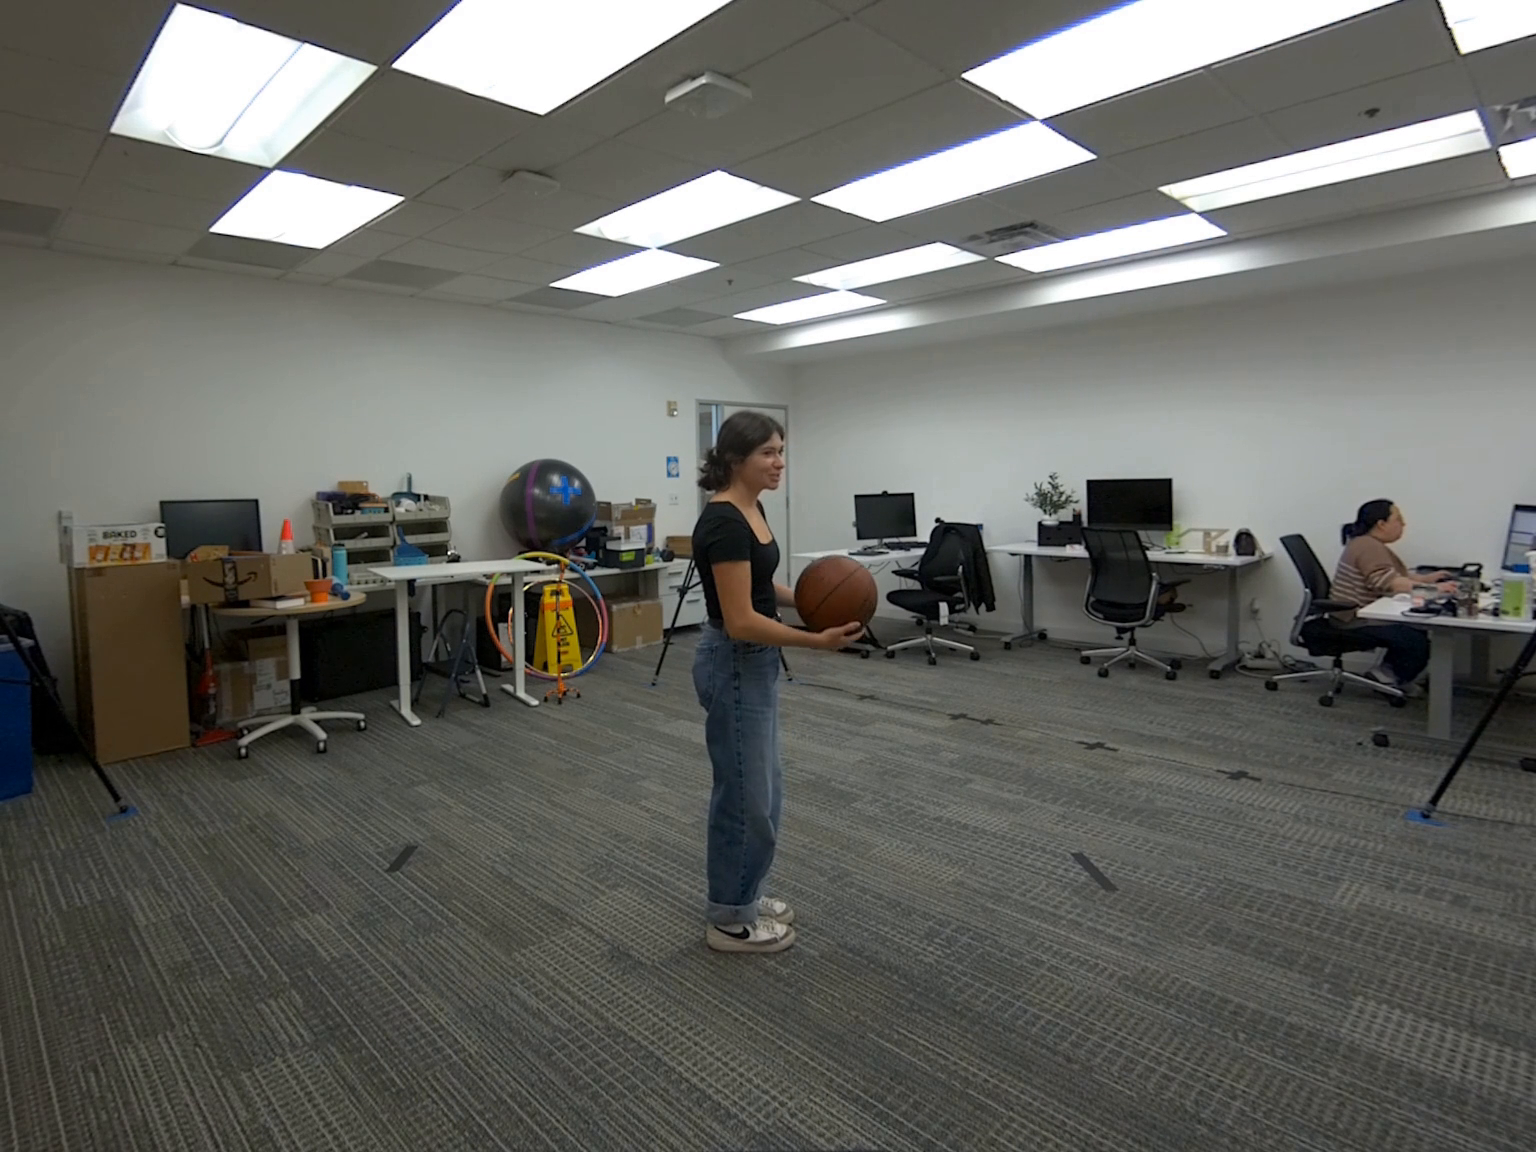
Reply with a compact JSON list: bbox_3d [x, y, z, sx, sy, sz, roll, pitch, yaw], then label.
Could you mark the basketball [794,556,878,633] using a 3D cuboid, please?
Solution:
[{"bbox_3d":[0.192,0.066,2.455,0.236,0.235,0.237,-1,5,-2],"label":"basketball"}]
